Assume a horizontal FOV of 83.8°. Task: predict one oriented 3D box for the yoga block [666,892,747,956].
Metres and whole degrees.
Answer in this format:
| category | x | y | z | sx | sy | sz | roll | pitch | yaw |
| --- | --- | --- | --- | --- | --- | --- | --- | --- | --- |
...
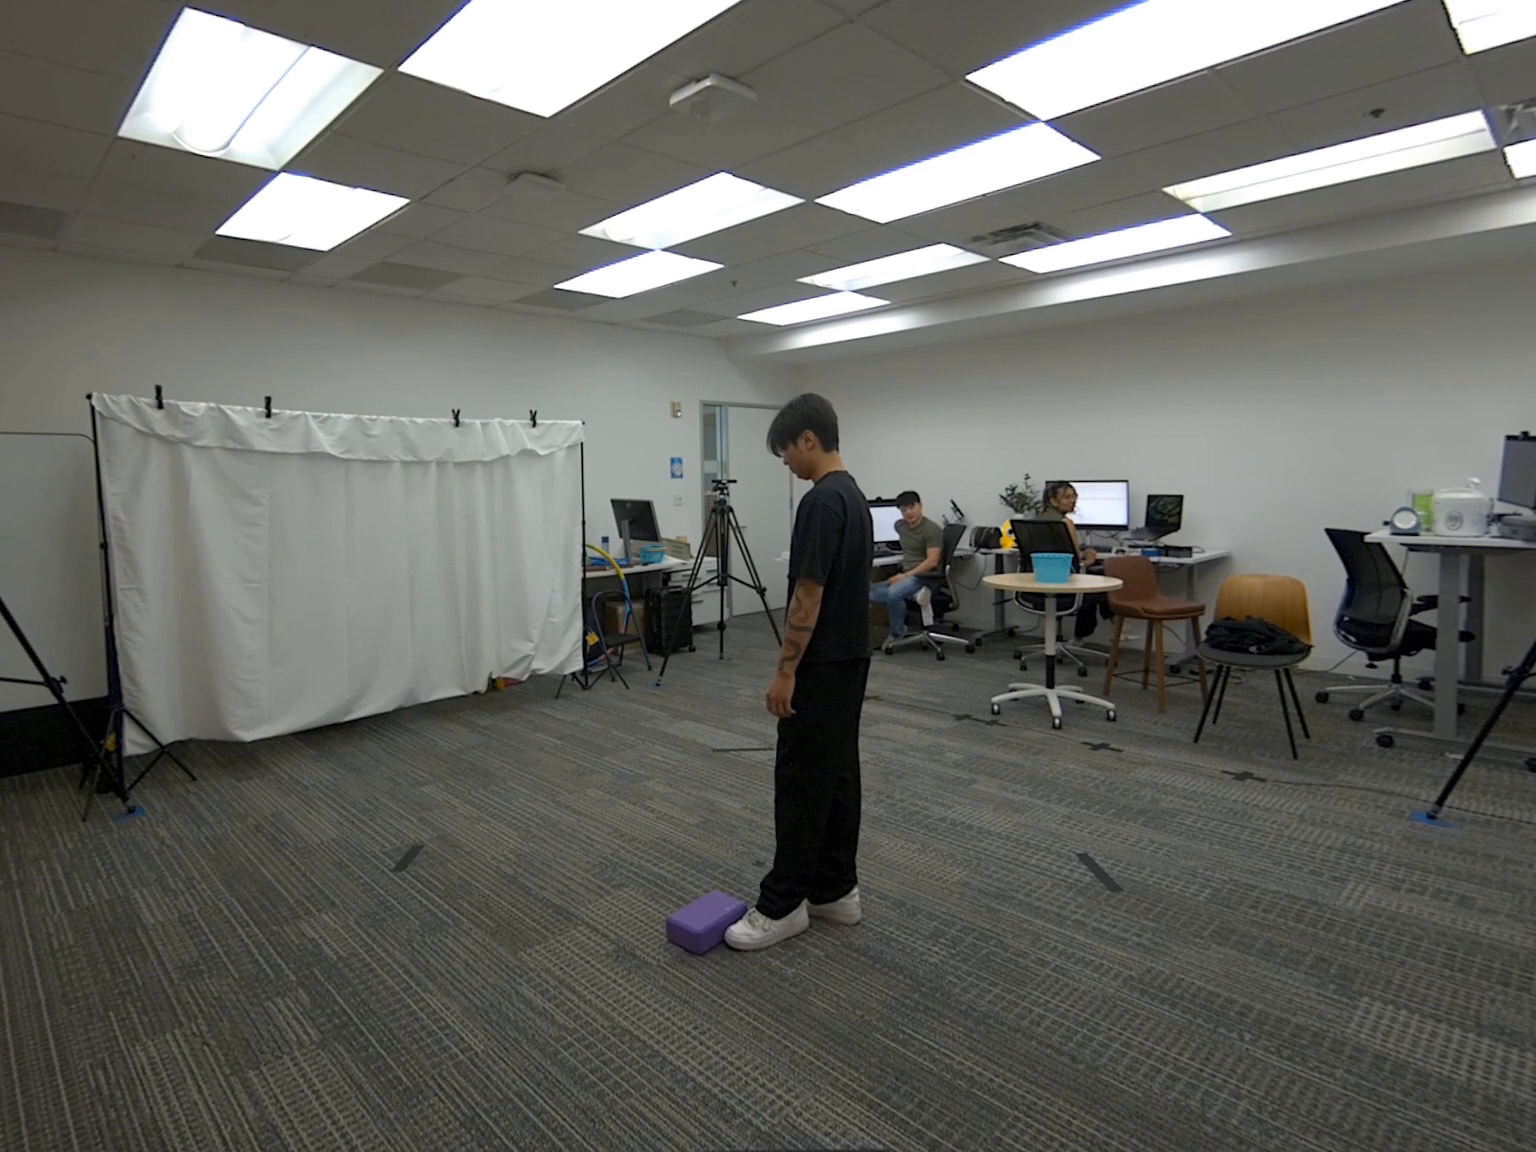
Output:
| category | x | y | z | sx | sy | sz | roll | pitch | yaw |
| --- | --- | --- | --- | --- | --- | --- | --- | --- | --- |
| yoga block | -0.180 | 1.064 | 2.632 | 0.153 | 0.076 | 0.224 | 3 | 9 | 39 |
